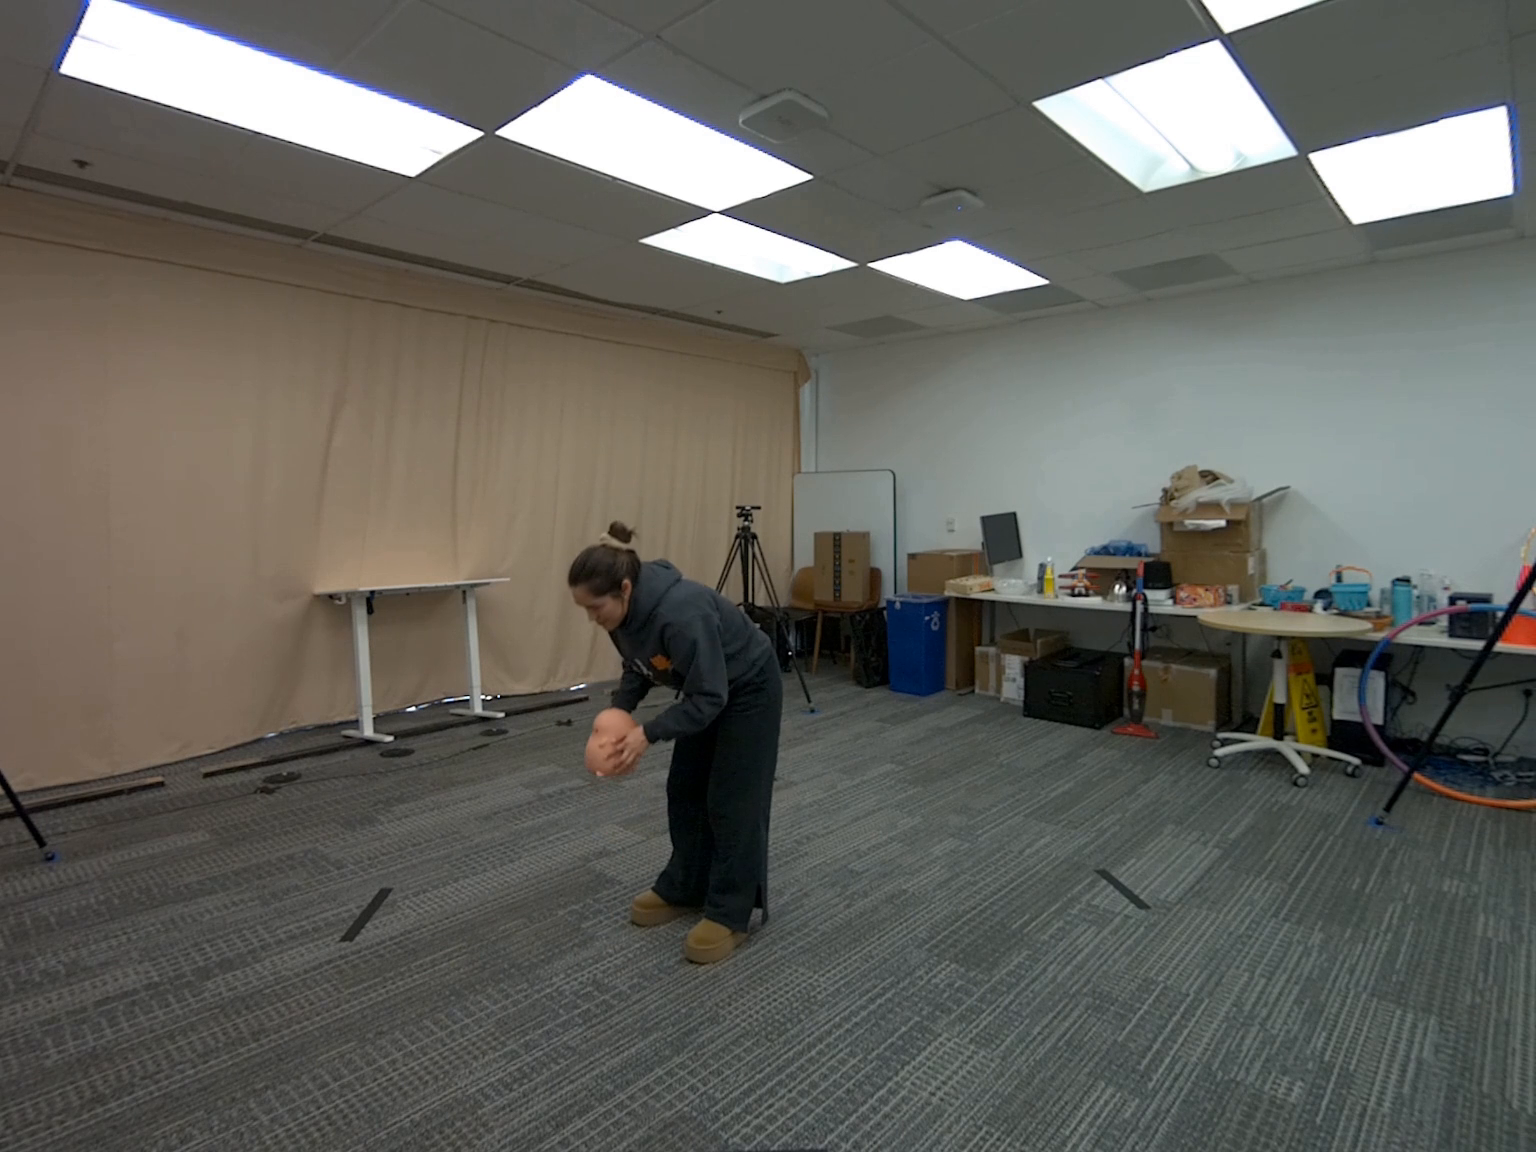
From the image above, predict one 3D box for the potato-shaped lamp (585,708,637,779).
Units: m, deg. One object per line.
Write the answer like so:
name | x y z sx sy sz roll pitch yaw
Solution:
potato-shaped lamp | -0.452 0.527 2.572 0.167 0.198 0.169 -4 3 -32
